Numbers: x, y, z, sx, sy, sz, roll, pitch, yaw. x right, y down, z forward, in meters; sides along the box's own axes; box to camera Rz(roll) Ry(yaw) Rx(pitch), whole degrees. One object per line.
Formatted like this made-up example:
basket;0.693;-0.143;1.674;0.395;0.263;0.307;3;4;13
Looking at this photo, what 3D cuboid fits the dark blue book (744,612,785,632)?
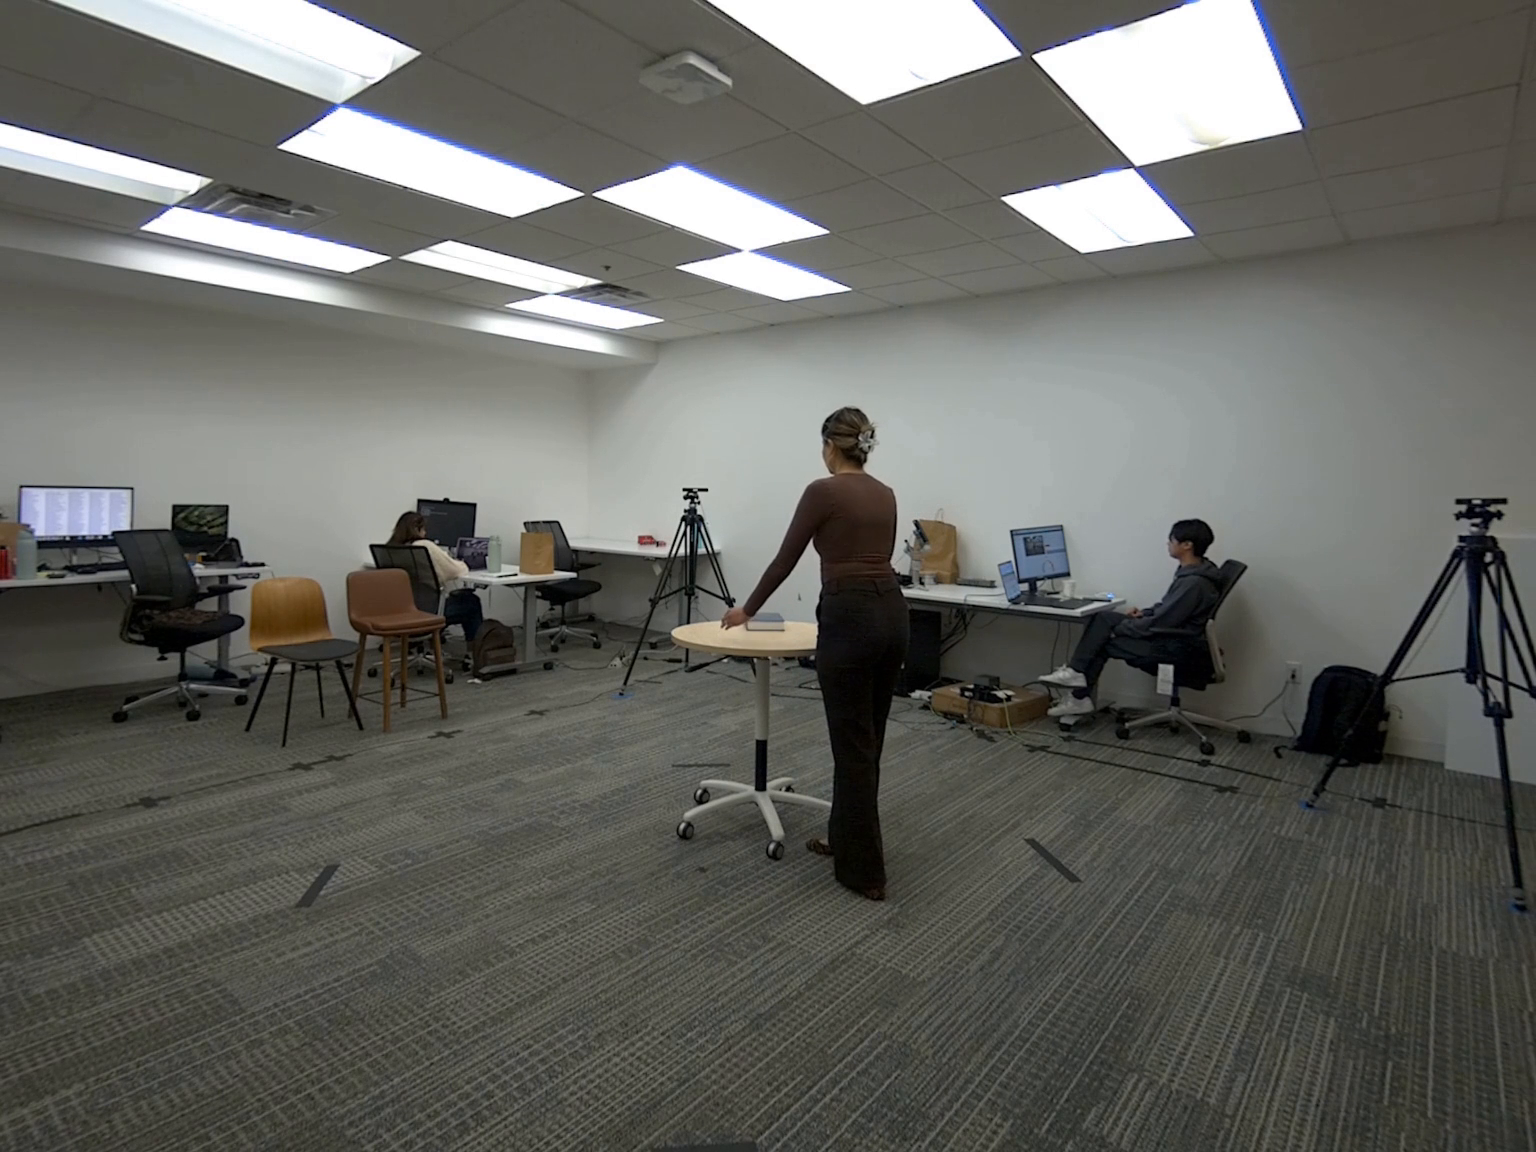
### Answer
dark blue book;-0.035;0.196;3.730;0.163;0.045;0.247;1;6;-4
